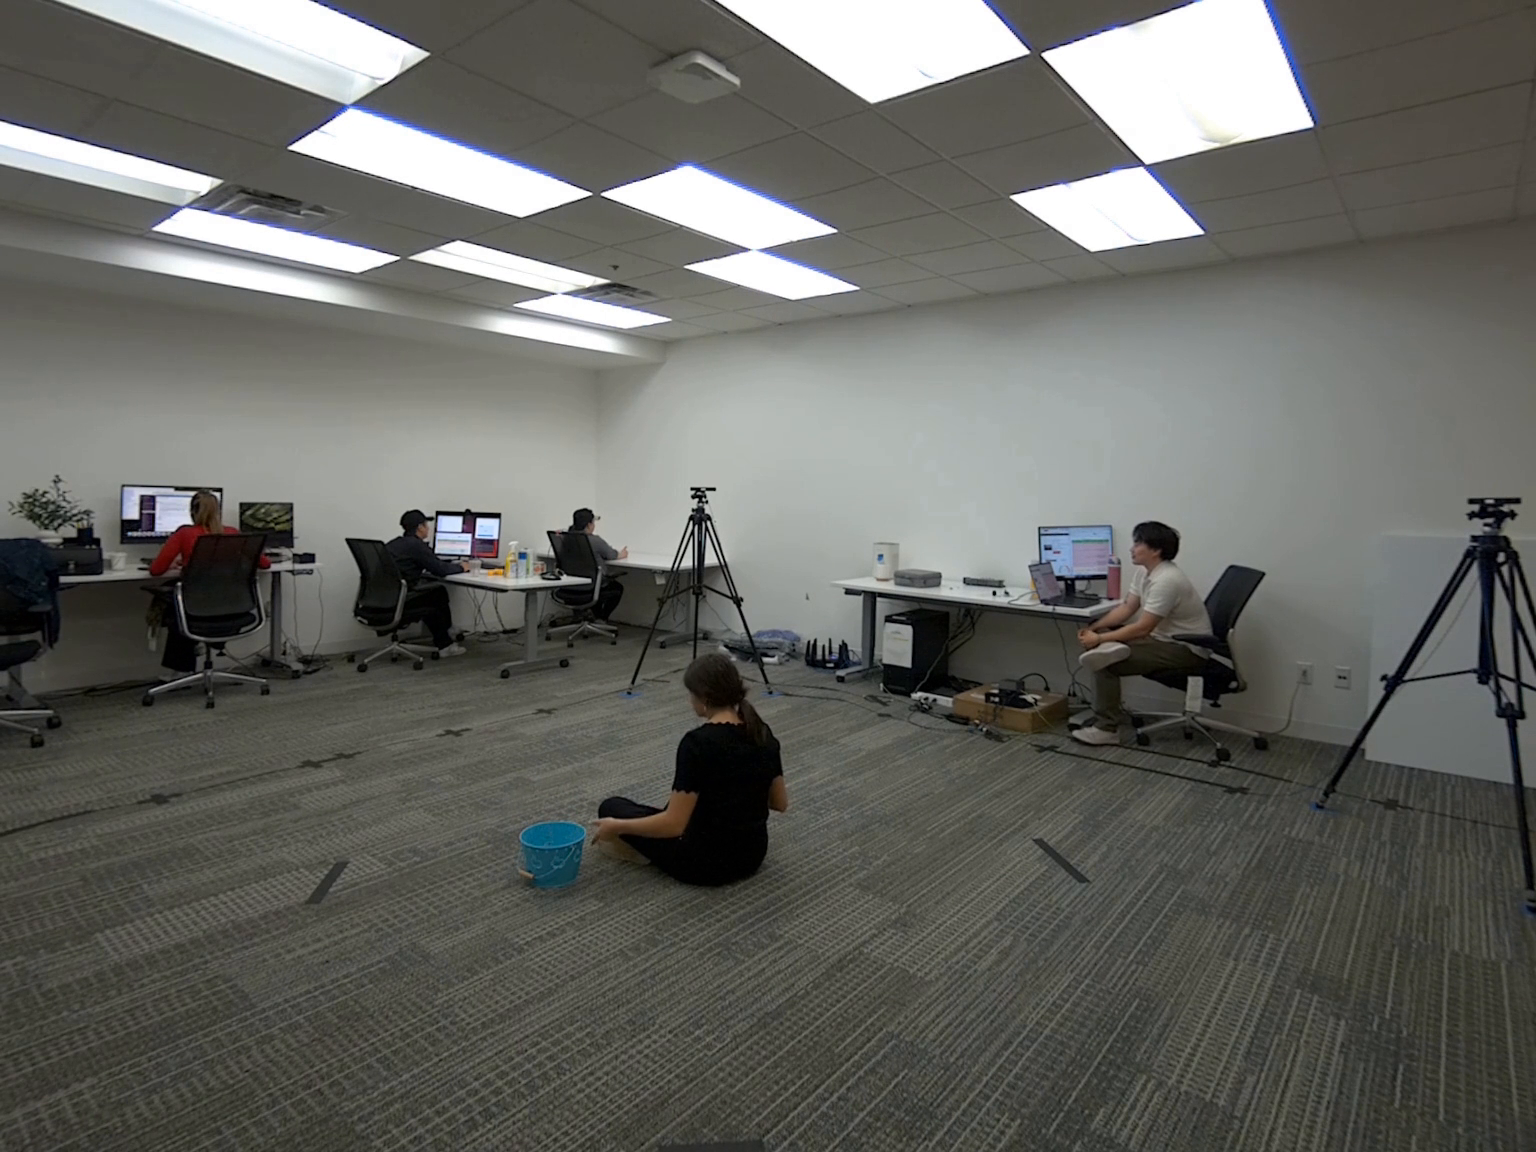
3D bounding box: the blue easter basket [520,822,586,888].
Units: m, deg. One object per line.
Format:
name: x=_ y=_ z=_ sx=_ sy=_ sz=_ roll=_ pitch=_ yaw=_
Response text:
blue easter basket: x=-0.782 y=0.987 z=3.025 sx=0.243 sy=0.155 sz=0.245 roll=1 pitch=5 yaw=-2
